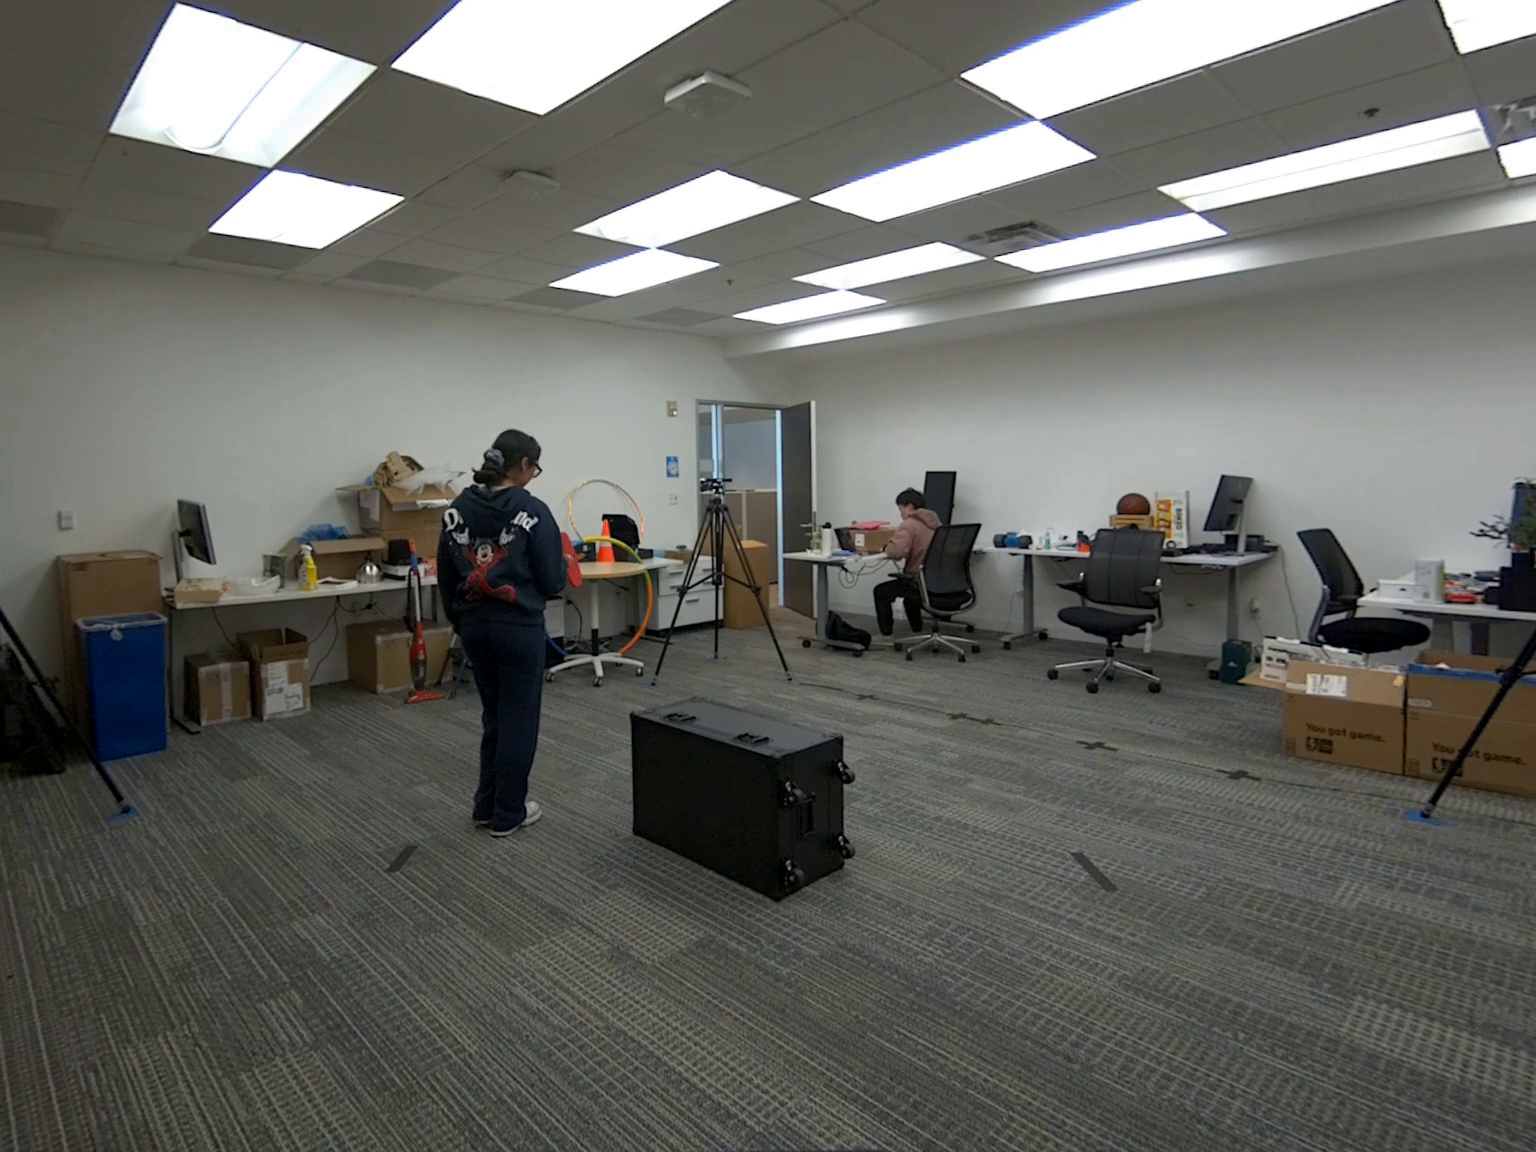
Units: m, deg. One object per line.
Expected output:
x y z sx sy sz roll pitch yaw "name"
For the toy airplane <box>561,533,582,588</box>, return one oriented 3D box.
-0.924 -0.026 3.736 0.157 0.243 0.265 -17 30 9 "toy airplane"
